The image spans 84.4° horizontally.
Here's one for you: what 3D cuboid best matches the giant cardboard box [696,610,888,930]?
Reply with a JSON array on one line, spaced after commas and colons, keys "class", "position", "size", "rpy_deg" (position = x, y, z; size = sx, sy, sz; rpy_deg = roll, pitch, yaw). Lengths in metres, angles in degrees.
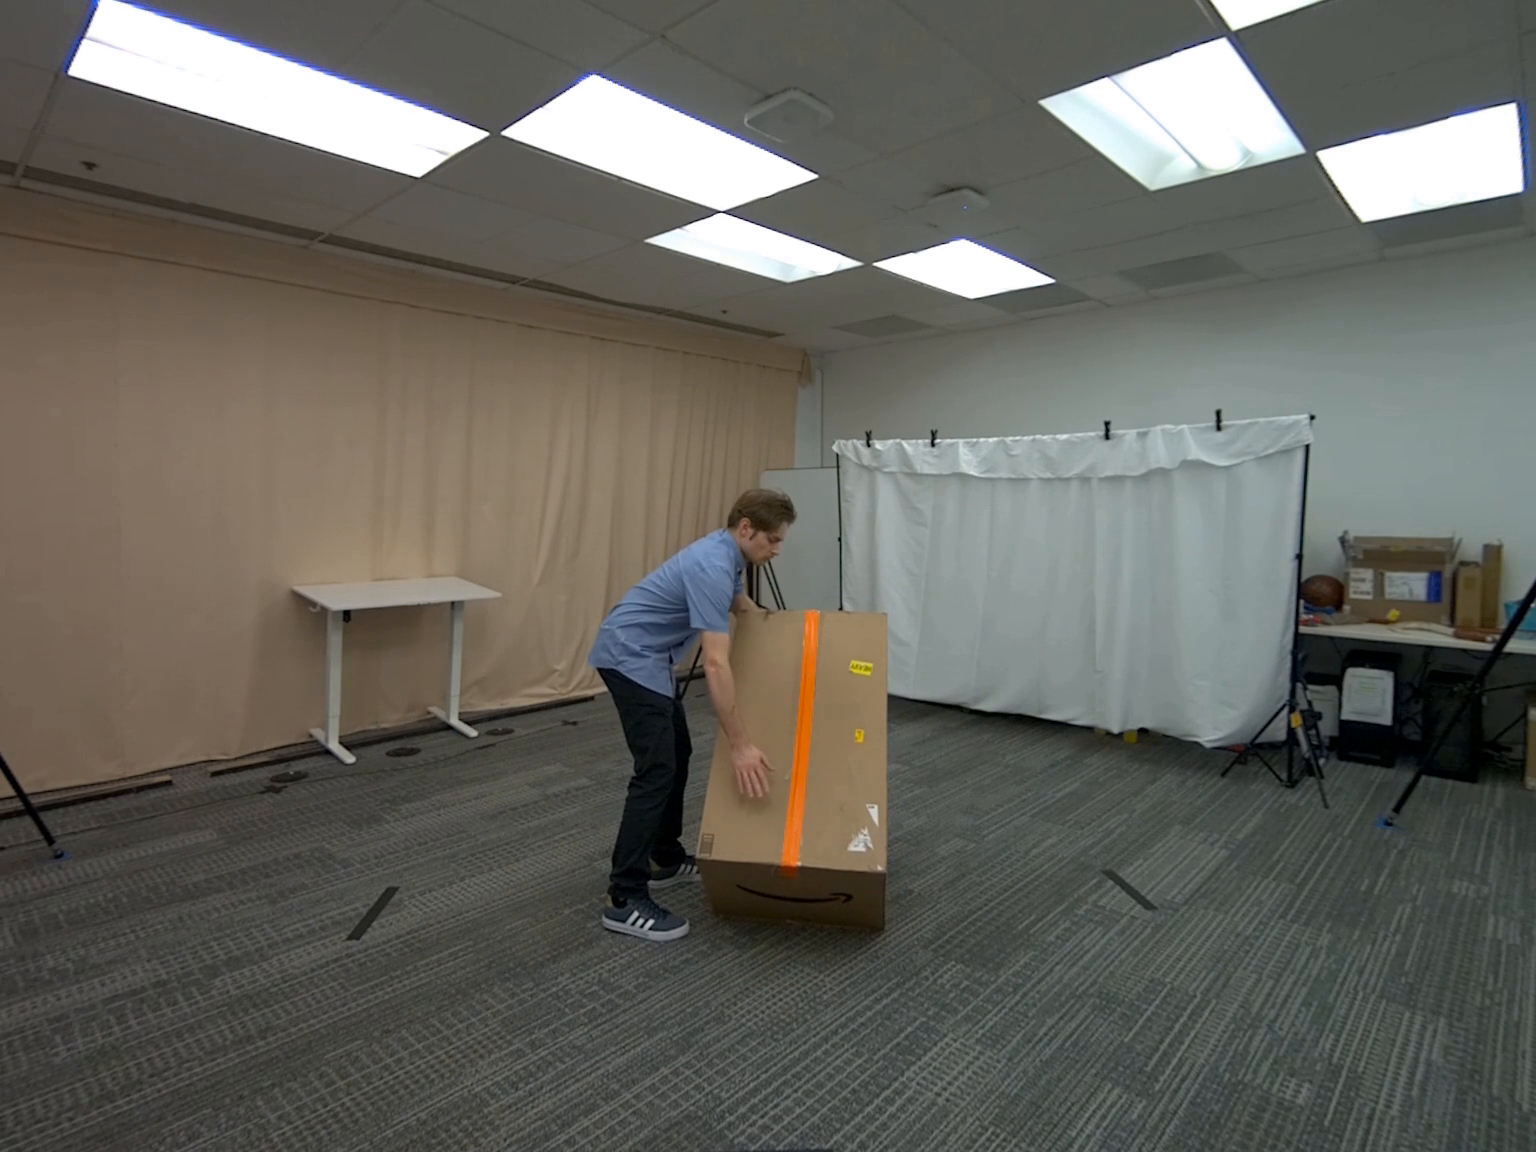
[{"class": "giant cardboard box", "position": [0.142, 0.646, 3.023], "size": [0.591, 0.436, 1.040], "rpy_deg": [-2, 46, 10]}]
